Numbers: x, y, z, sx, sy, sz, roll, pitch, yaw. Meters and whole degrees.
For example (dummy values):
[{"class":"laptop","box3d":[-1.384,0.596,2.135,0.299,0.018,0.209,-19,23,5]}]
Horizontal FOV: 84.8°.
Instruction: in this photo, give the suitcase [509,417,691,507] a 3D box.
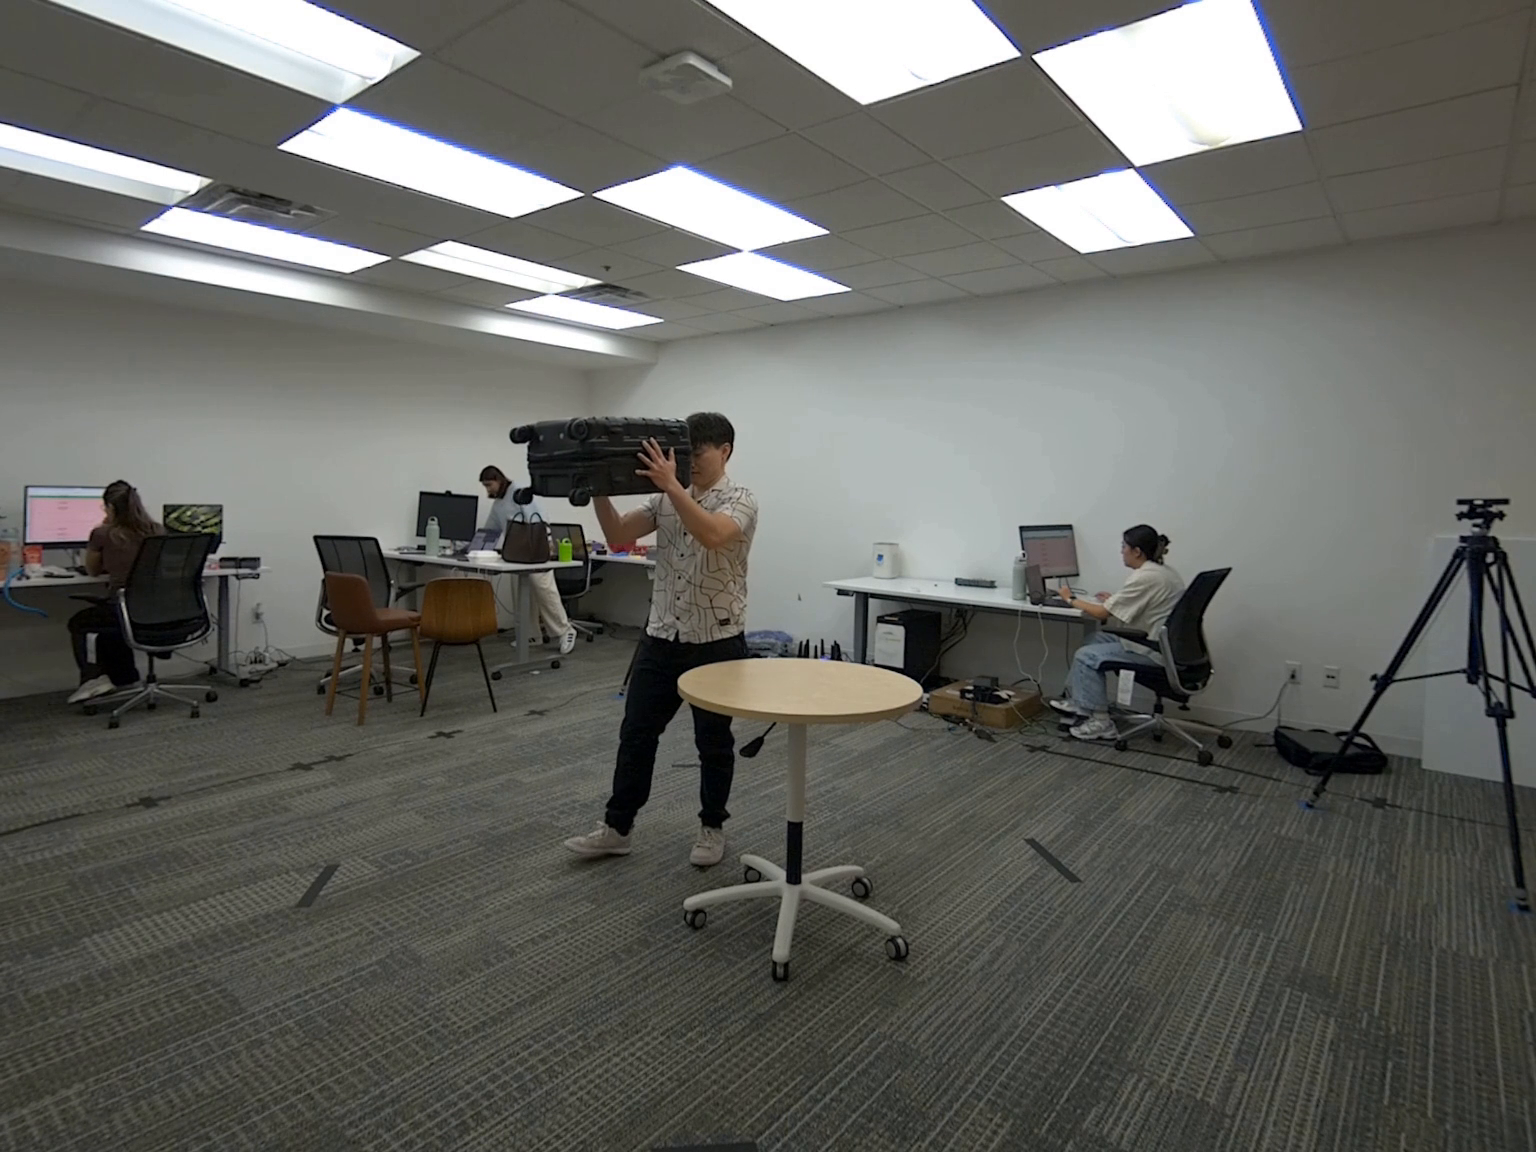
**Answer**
[{"class":"suitcase","box3d":[-0.553,-0.401,2.863,0.388,0.246,0.536,4,11,38]}]
